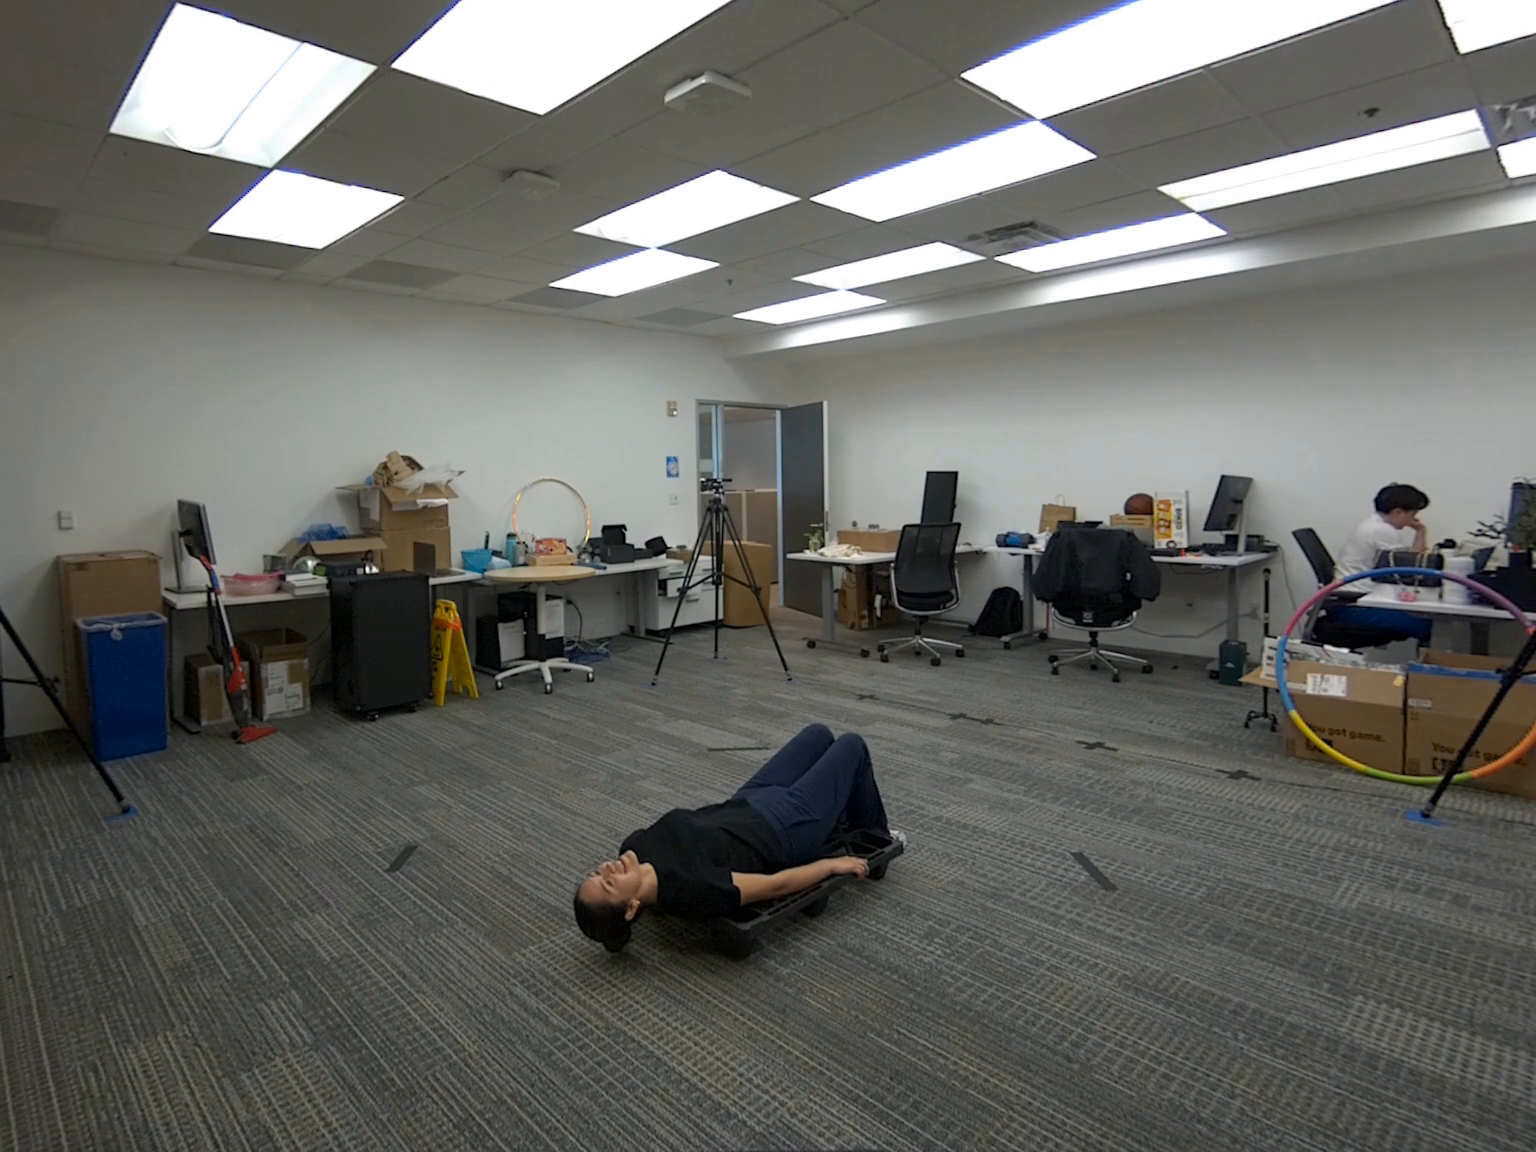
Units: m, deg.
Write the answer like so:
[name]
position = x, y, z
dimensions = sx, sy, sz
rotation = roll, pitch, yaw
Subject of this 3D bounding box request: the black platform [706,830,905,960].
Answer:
[black platform]
position = -0.010, 1.002, 2.895
dimensions = 0.624, 0.142, 0.785
rotation = 5, 9, 43
